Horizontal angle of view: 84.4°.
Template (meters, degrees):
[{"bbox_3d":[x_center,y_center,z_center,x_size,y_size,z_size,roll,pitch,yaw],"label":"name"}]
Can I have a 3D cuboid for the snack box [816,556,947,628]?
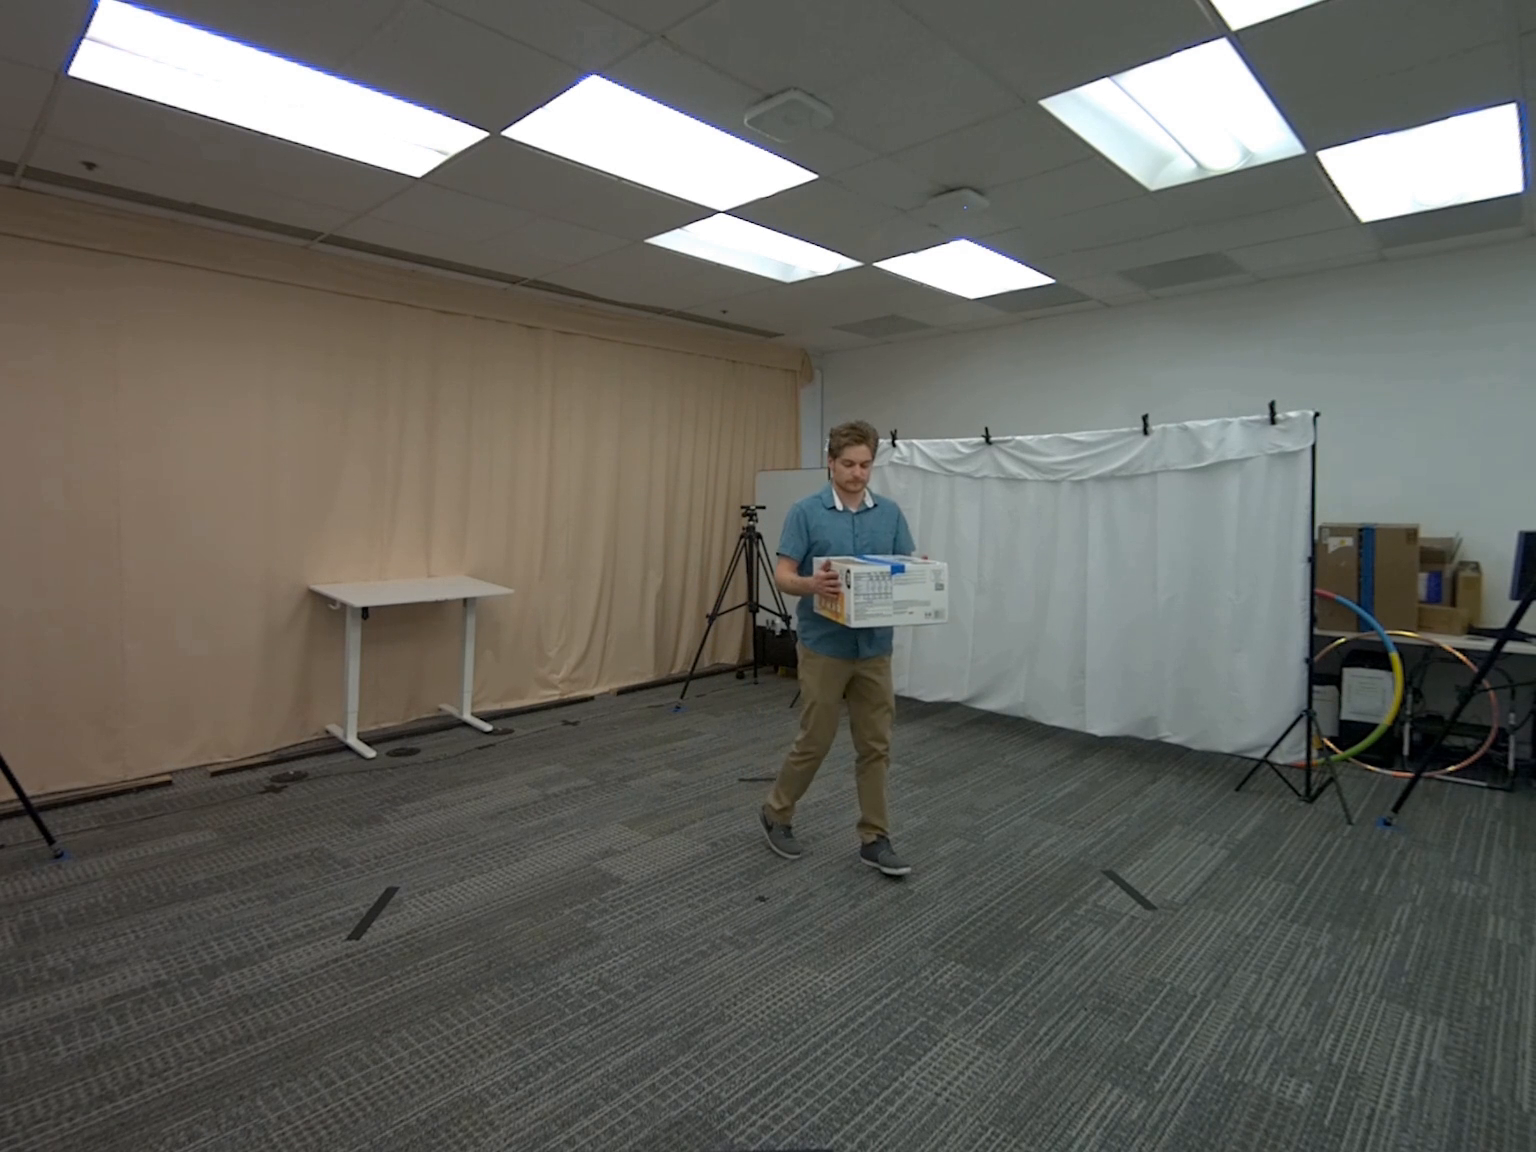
[{"bbox_3d":[0.369,0.041,2.940,0.336,0.205,0.411,-1,5,-12],"label":"snack box"}]
